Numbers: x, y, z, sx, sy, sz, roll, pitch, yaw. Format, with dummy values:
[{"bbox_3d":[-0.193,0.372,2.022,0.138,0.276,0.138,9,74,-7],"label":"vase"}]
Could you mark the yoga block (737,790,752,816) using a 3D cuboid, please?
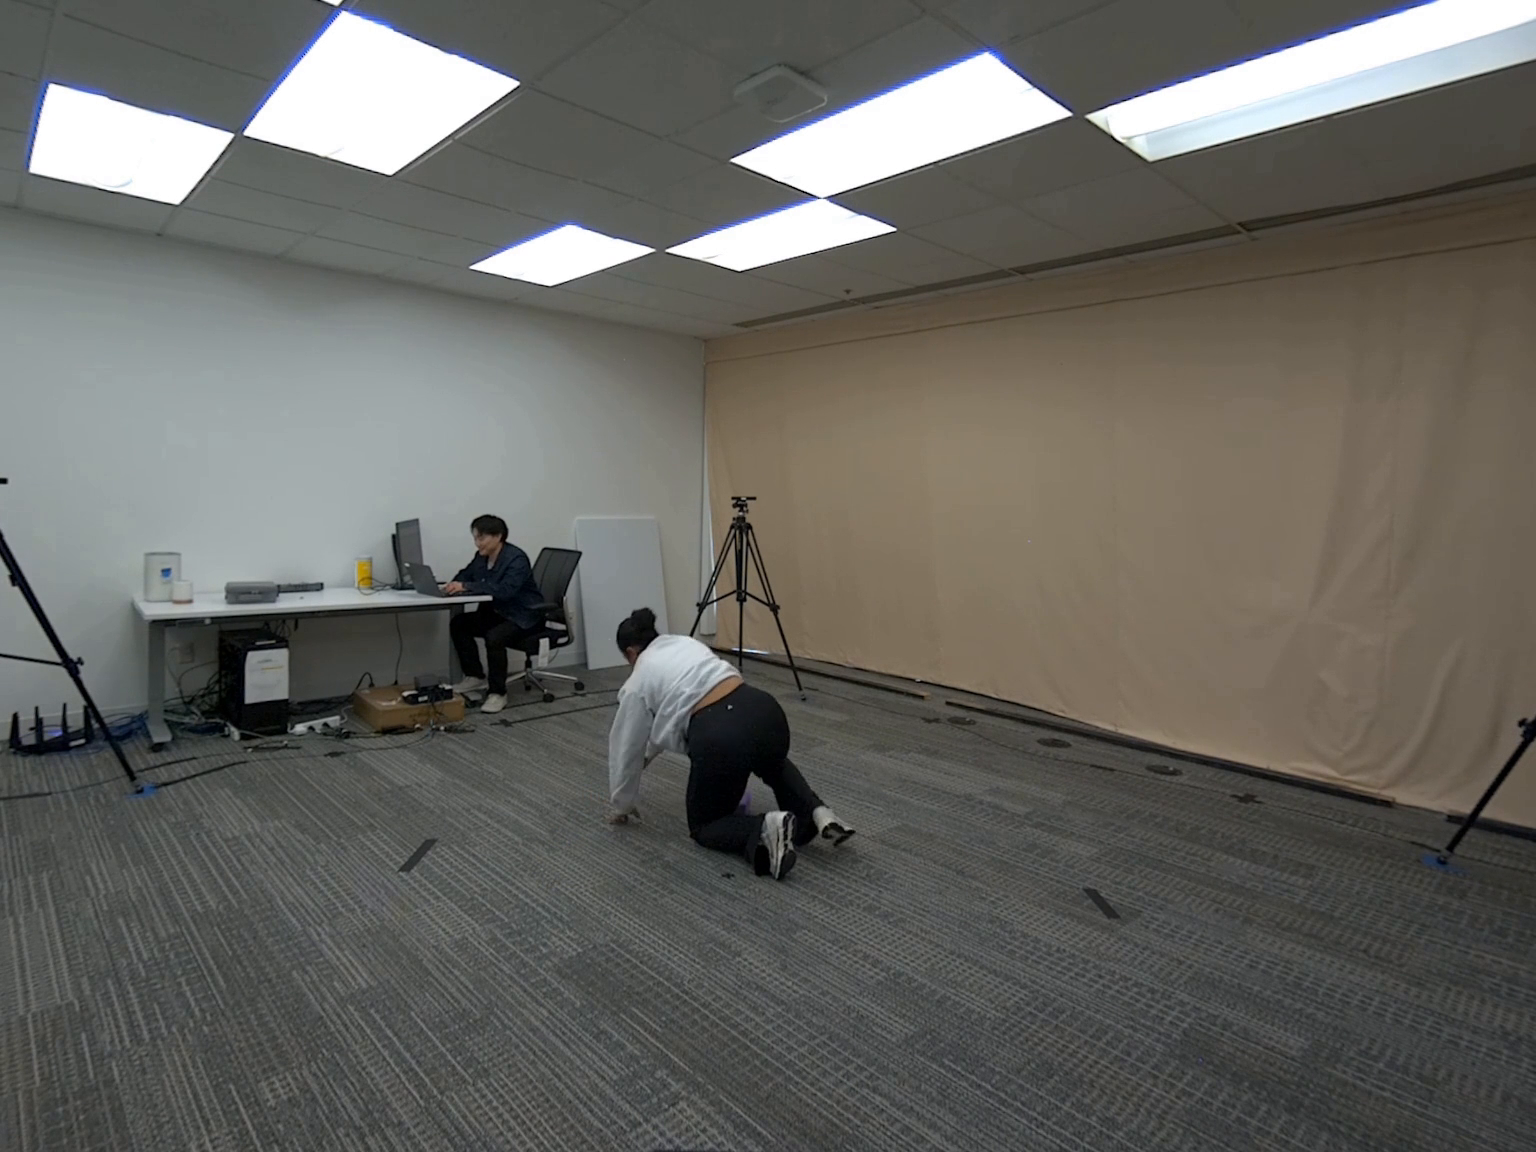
[{"bbox_3d":[-0.209,1.009,3.729,0.231,0.076,0.148,3,5,10],"label":"yoga block"}]
